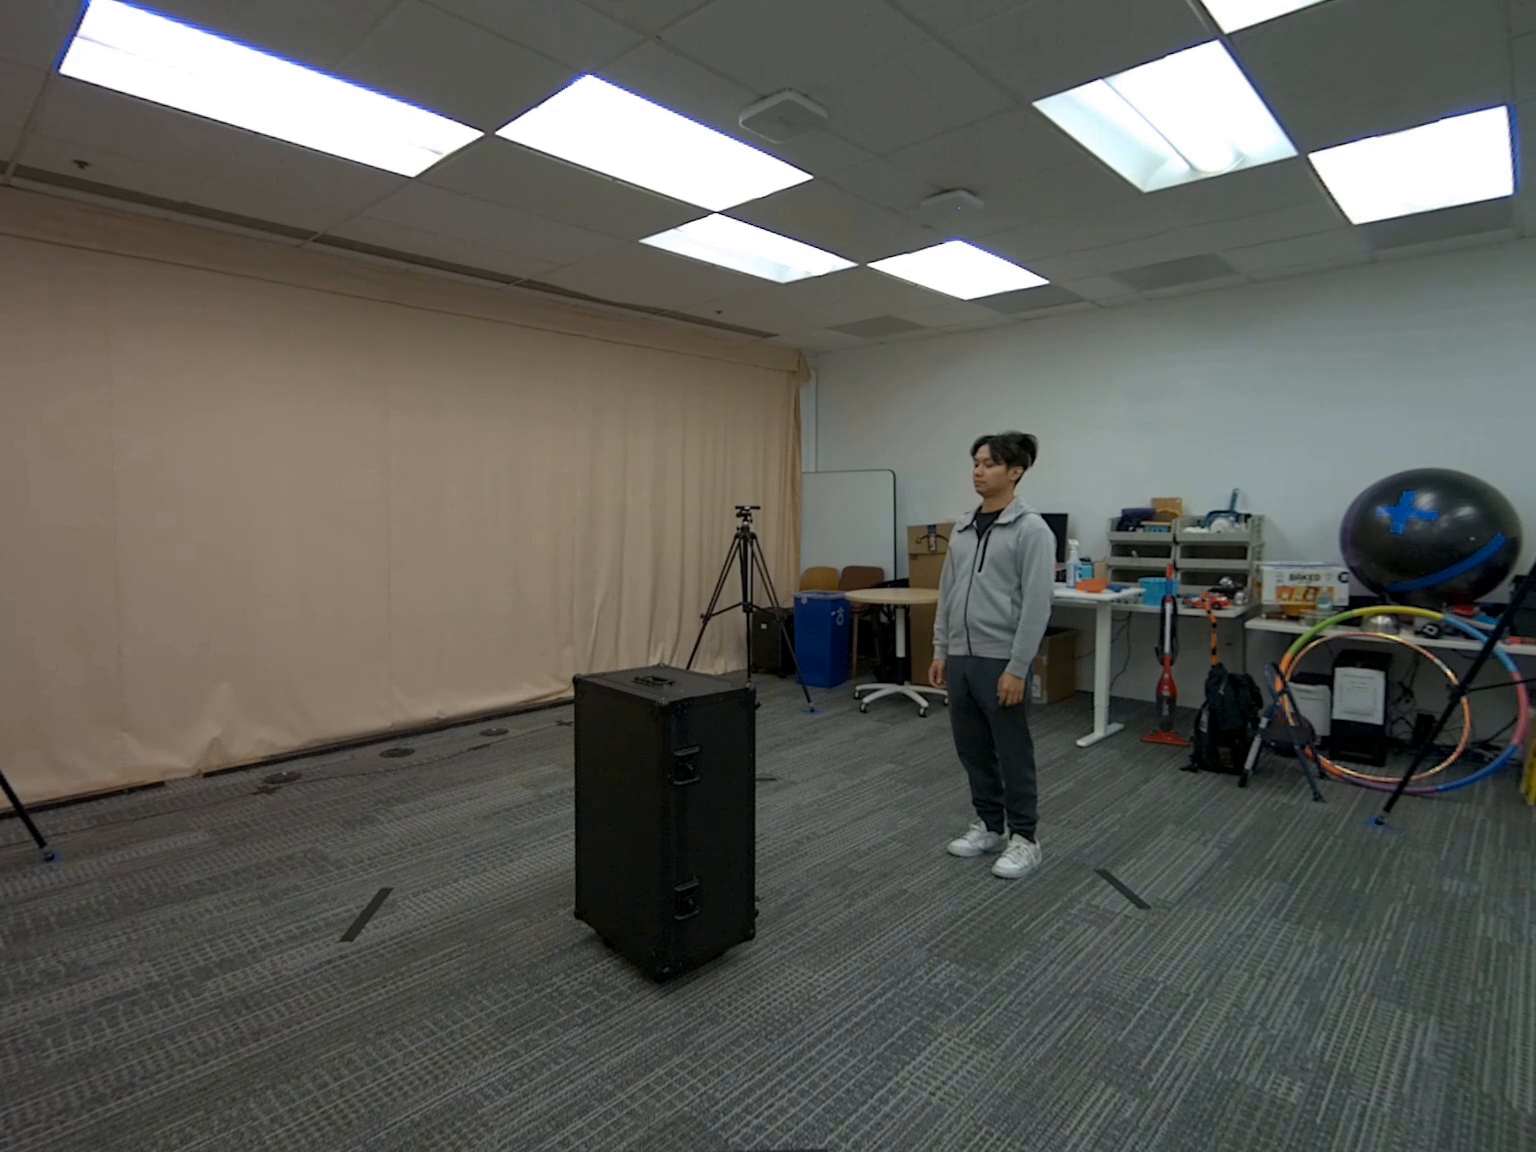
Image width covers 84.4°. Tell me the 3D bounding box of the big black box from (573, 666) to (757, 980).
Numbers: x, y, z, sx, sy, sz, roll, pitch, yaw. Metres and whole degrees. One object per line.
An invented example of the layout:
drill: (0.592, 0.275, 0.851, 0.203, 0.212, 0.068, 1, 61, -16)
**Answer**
big black box: (-0.323, 0.751, 2.641, 0.384, 0.860, 0.538, -1, 3, -42)
